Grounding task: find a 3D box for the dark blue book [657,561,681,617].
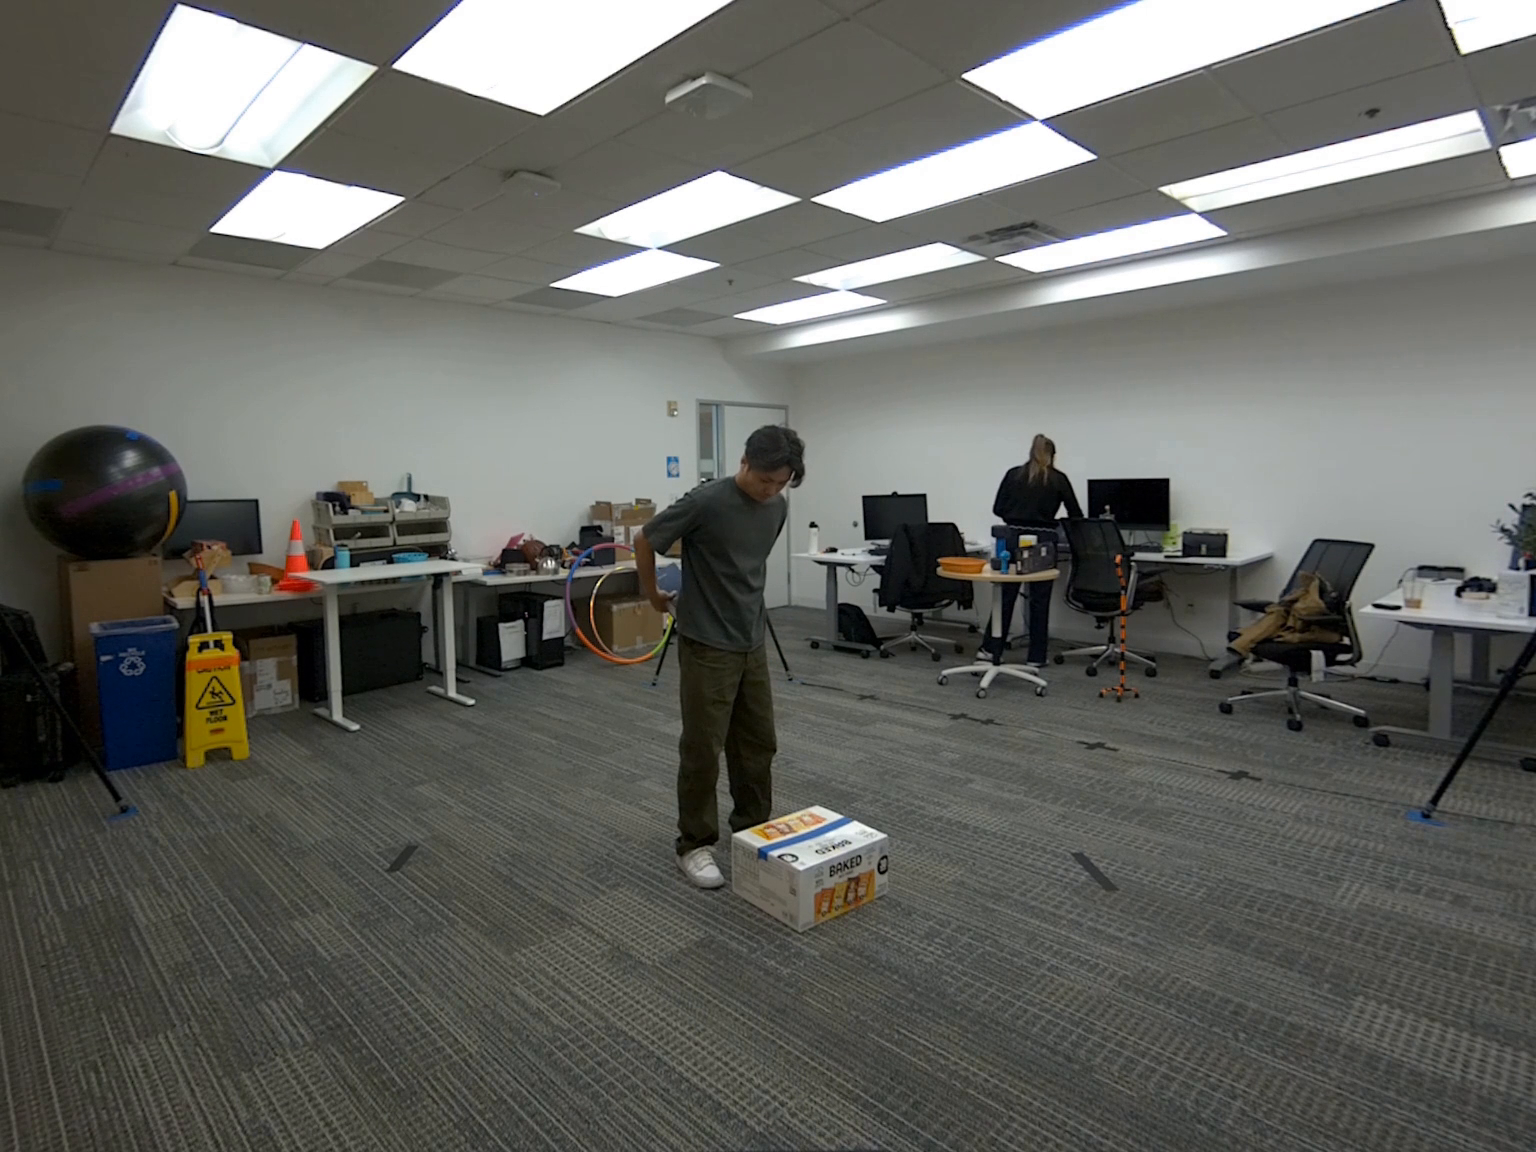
[{"bbox_3d":[-0.335,0.077,3.295,0.045,0.248,0.161,-43,-9,35],"label":"dark blue book"}]
